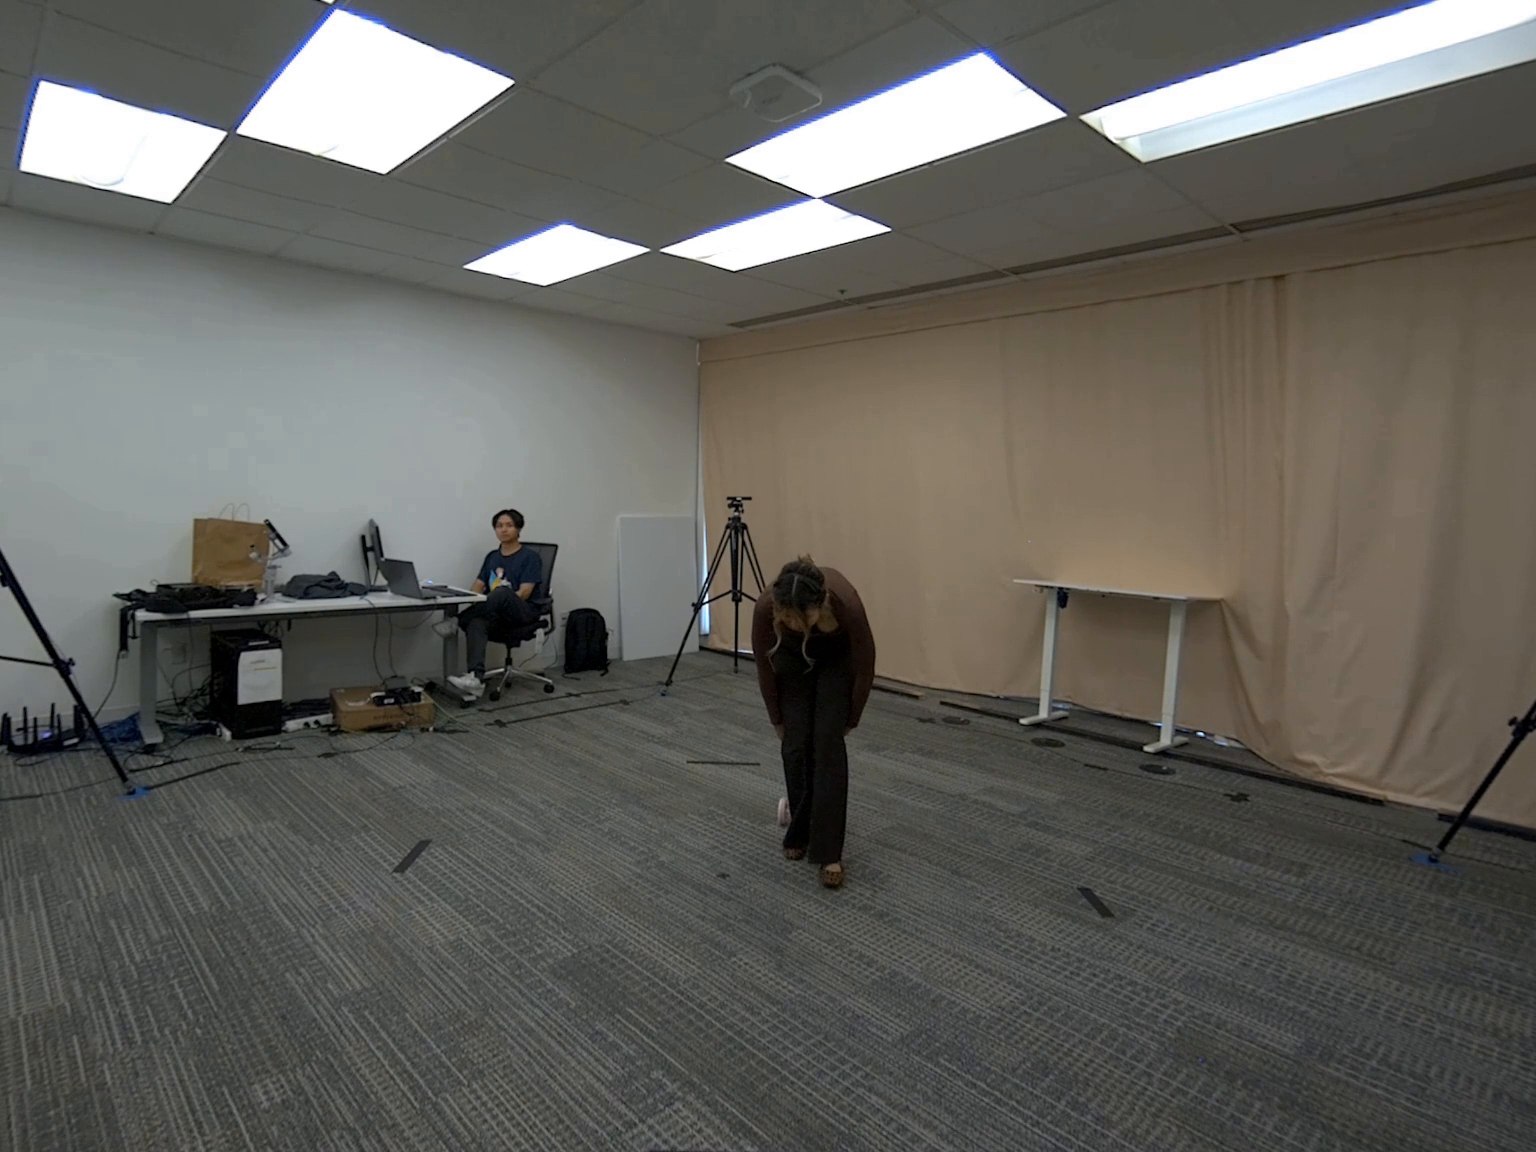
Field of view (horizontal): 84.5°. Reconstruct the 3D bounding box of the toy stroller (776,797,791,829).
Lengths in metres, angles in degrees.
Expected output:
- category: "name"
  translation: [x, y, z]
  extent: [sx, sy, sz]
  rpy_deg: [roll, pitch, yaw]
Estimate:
- category: "toy stroller"
  translation: [0.206, 0.849, 3.638]
  extent: [0.285, 0.528, 0.341]
  rpy_deg: [4, 19, 17]
